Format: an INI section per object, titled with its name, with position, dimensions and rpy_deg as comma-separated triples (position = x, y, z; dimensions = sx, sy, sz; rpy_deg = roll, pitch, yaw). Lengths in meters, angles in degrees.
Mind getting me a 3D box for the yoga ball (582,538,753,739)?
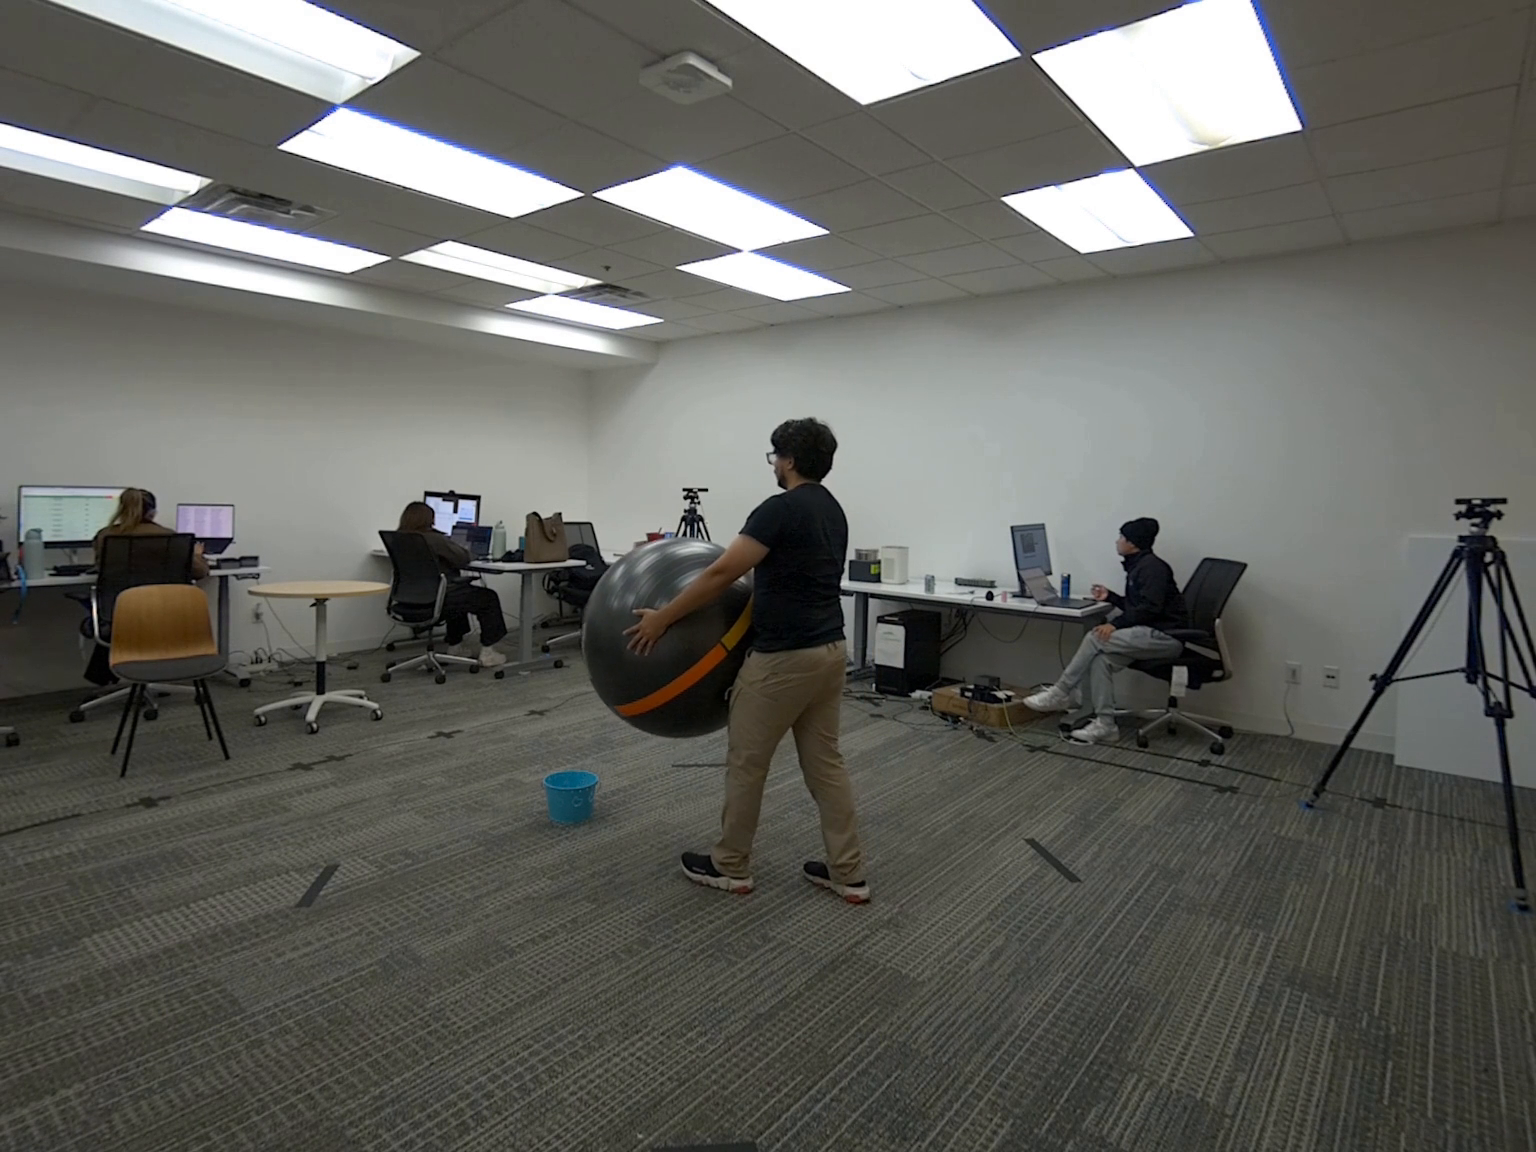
[yoga ball]
position = -0.350, 0.233, 3.260
dimensions = 0.757, 0.756, 0.762
rpy_deg = 1, 4, -2
